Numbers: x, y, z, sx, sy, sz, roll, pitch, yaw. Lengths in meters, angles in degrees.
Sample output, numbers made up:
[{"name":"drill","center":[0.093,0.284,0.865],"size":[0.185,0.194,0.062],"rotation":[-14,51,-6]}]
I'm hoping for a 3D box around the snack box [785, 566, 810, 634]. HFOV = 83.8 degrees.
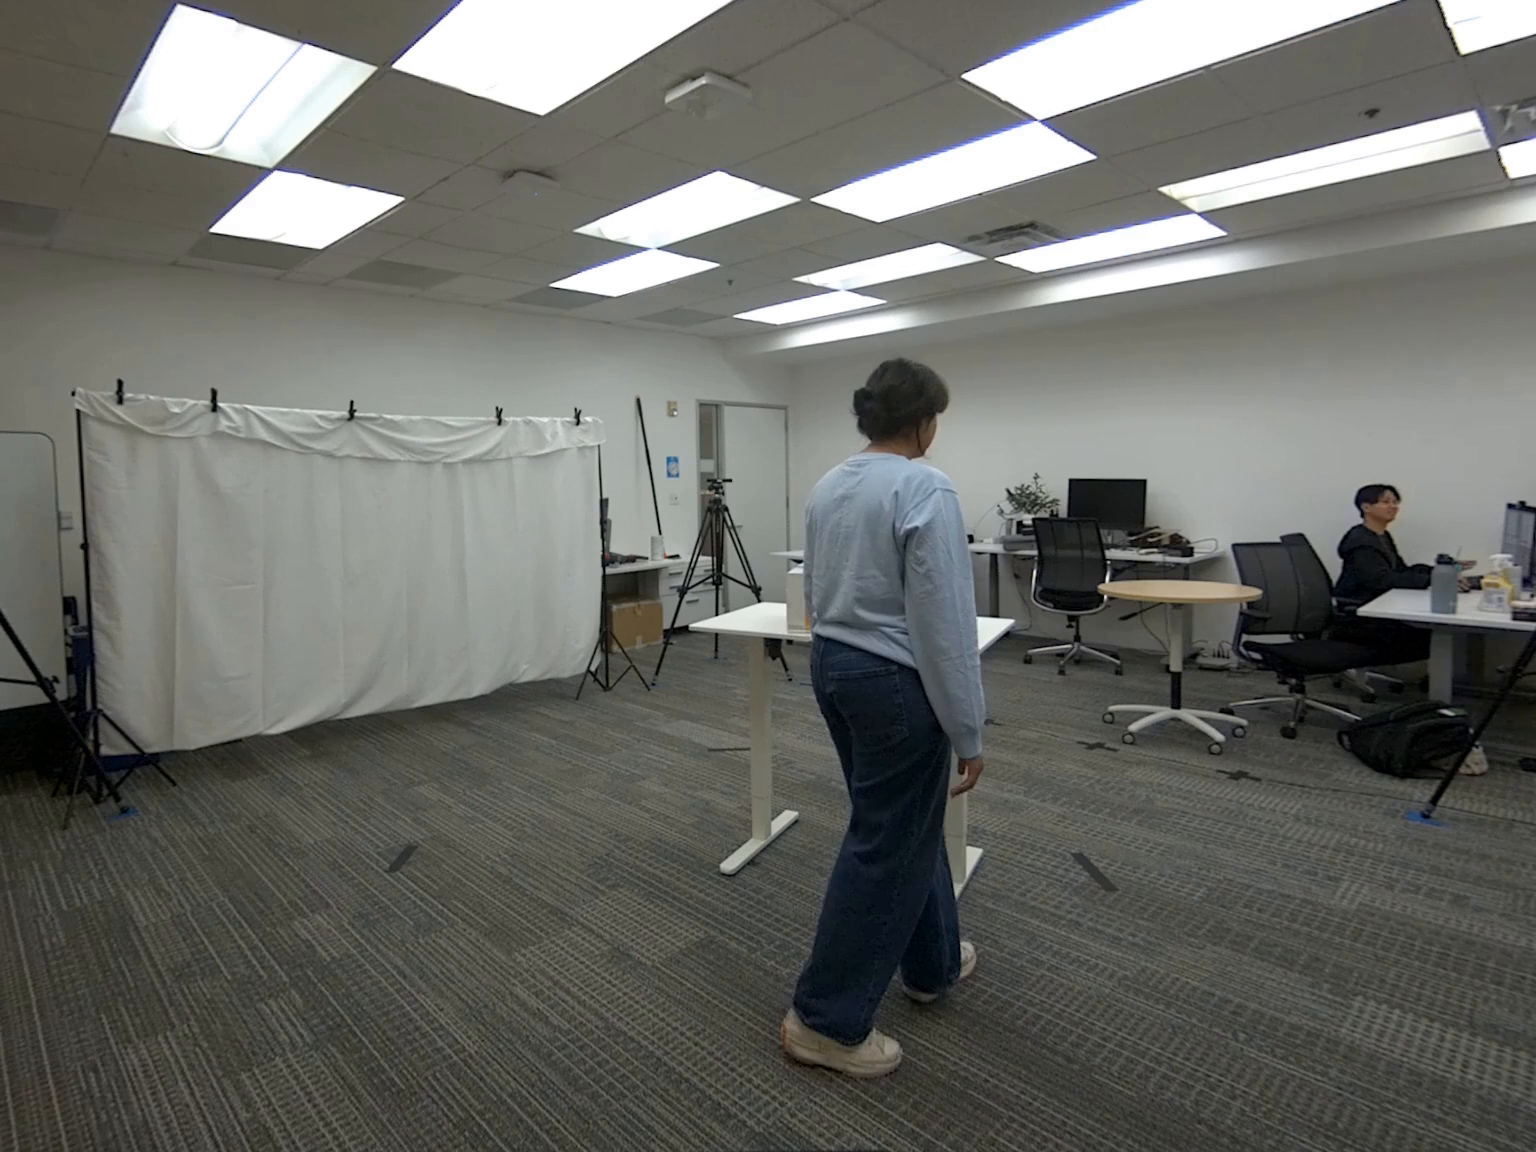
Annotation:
[{"name":"snack box","center":[0.302,0.072,2.953],"size":[0.411,0.204,0.337],"rotation":[1,7,13]}]
